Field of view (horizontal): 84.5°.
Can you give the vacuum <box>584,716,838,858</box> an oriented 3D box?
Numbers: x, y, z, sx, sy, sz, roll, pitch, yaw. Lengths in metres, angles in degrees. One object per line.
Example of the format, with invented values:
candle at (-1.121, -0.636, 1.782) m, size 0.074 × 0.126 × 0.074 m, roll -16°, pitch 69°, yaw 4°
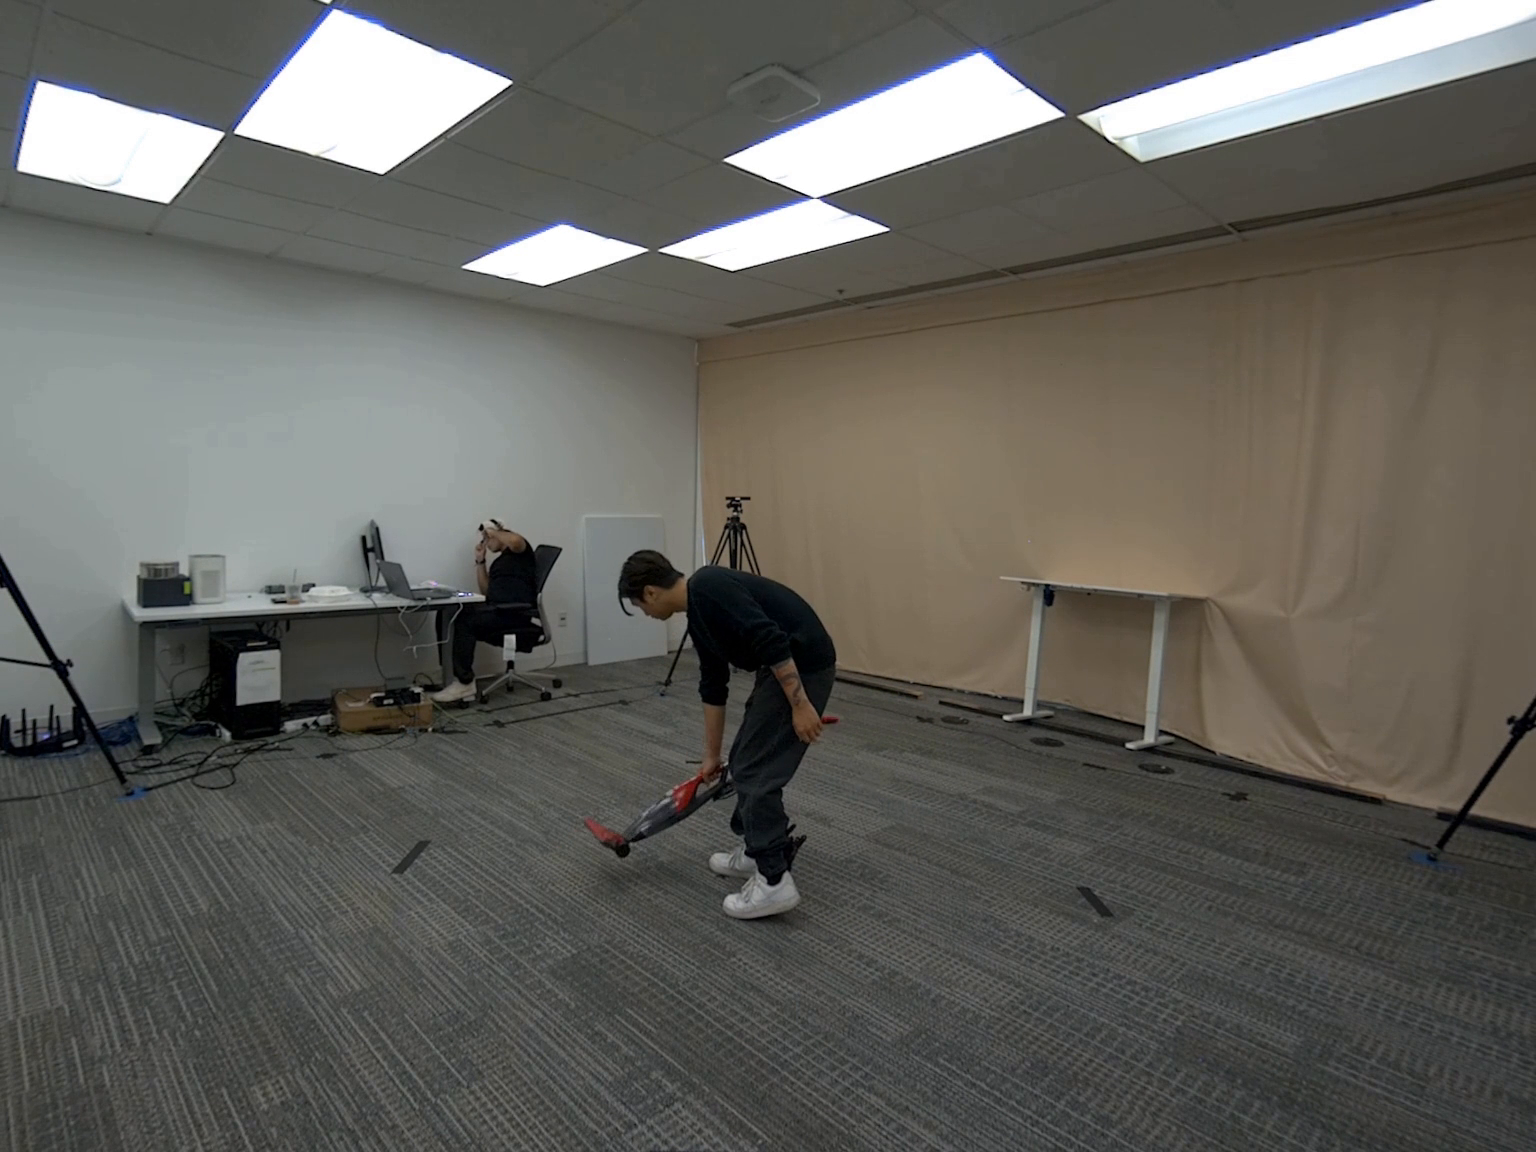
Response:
vacuum at (-0.165, 0.784, 3.296) m, size 1.038 × 0.142 × 0.257 m, roll -23°, pitch 12°, yaw -24°
